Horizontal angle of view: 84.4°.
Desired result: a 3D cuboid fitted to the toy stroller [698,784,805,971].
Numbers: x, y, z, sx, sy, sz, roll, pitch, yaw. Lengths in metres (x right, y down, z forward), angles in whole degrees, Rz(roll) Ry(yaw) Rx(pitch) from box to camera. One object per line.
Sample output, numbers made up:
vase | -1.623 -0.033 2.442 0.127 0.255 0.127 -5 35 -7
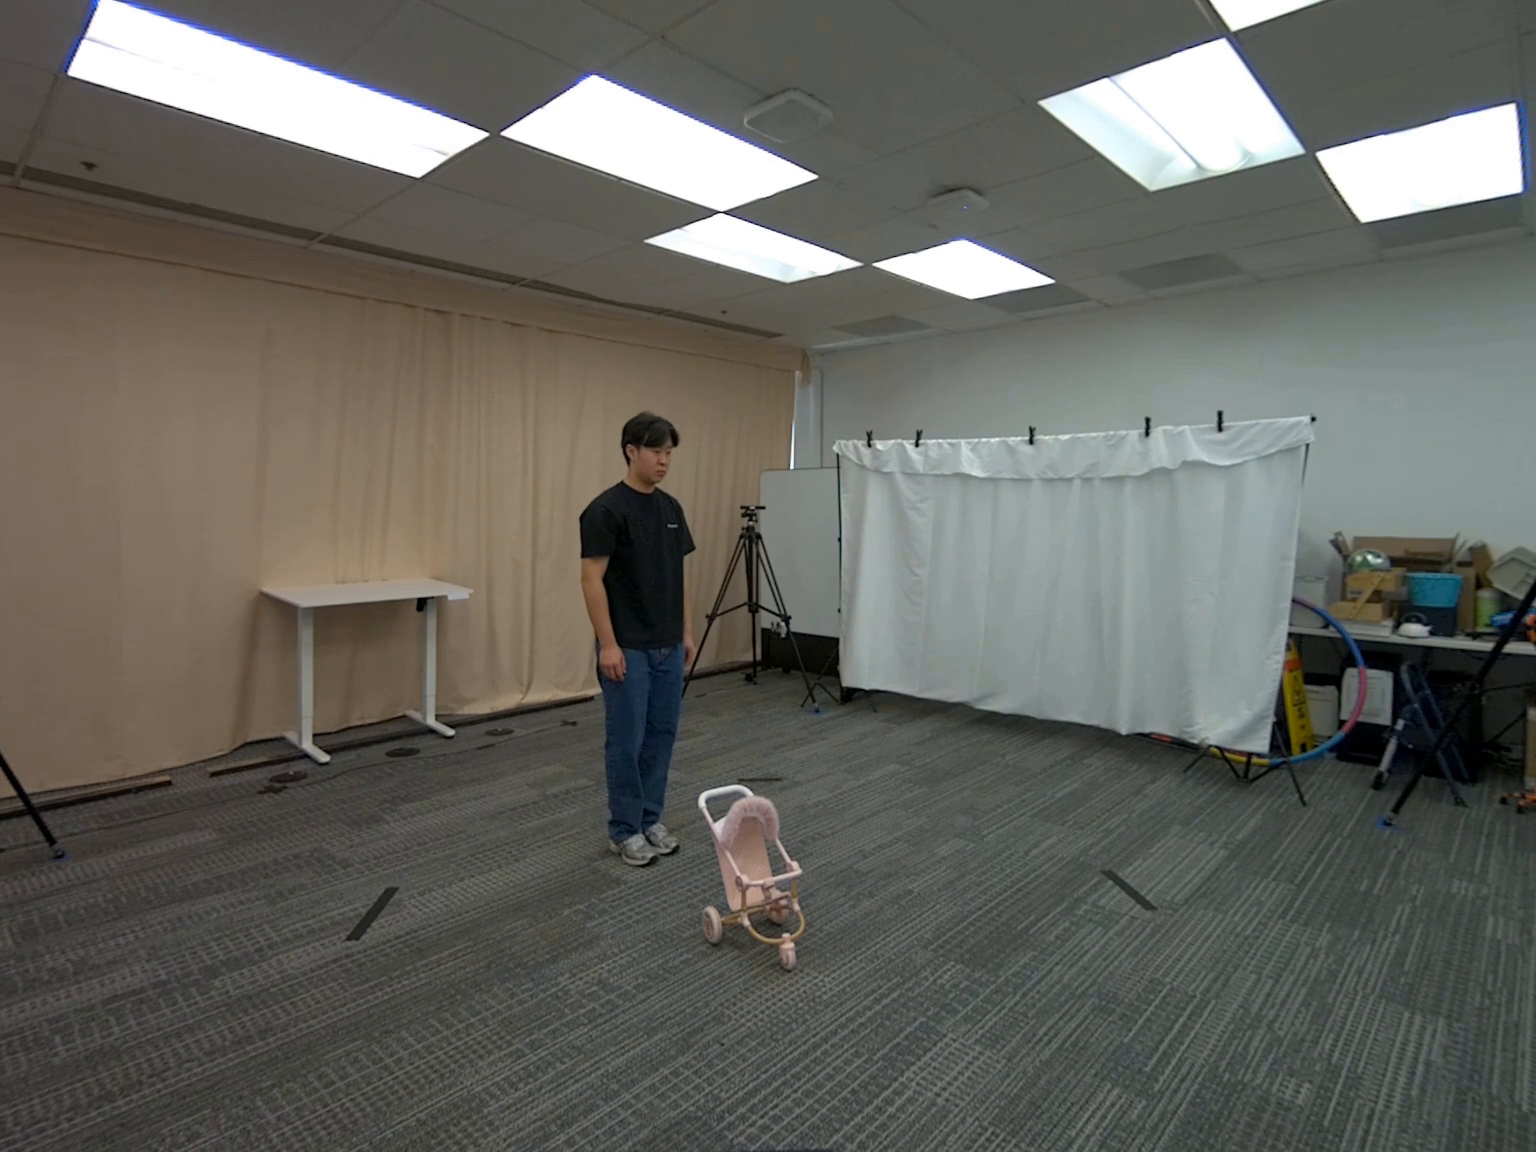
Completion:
toy stroller | -0.039 0.948 2.683 0.274 0.540 0.347 -2 -13 -26
